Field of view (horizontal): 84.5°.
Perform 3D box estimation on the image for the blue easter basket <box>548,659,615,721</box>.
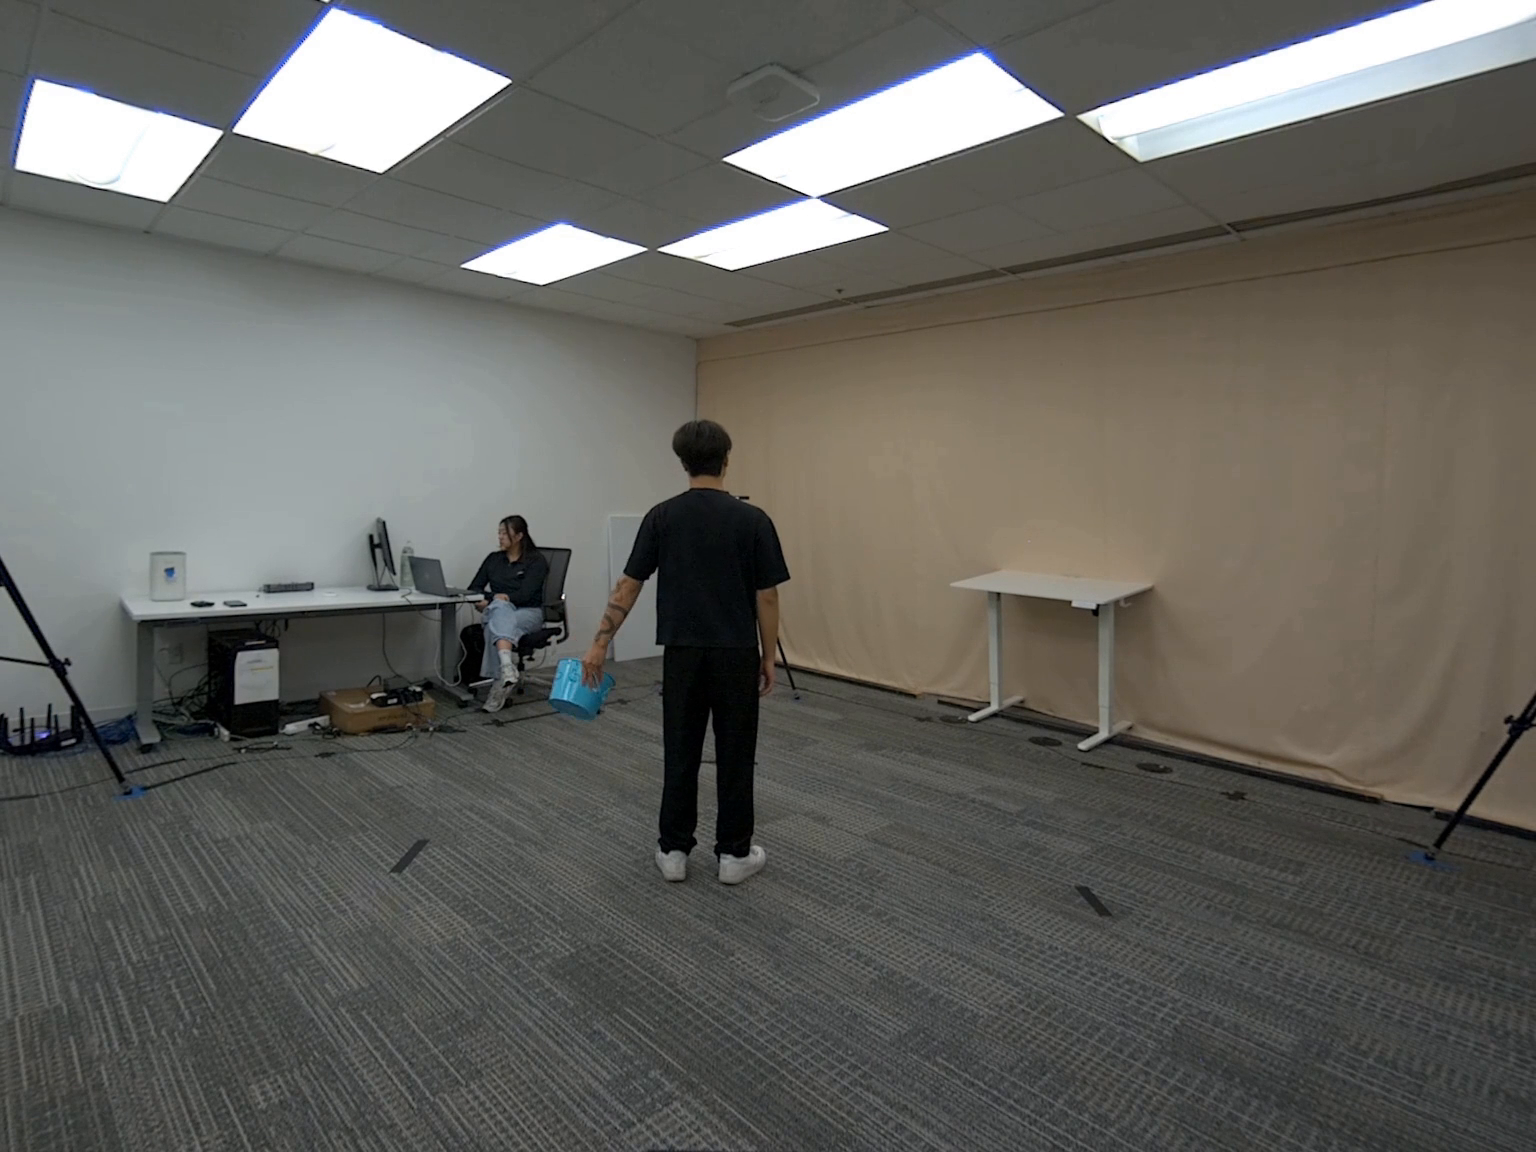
[{"bbox_3d":[-0.694,0.428,3.149,0.245,0.157,0.239,16,-29,8],"label":"blue easter basket"}]
